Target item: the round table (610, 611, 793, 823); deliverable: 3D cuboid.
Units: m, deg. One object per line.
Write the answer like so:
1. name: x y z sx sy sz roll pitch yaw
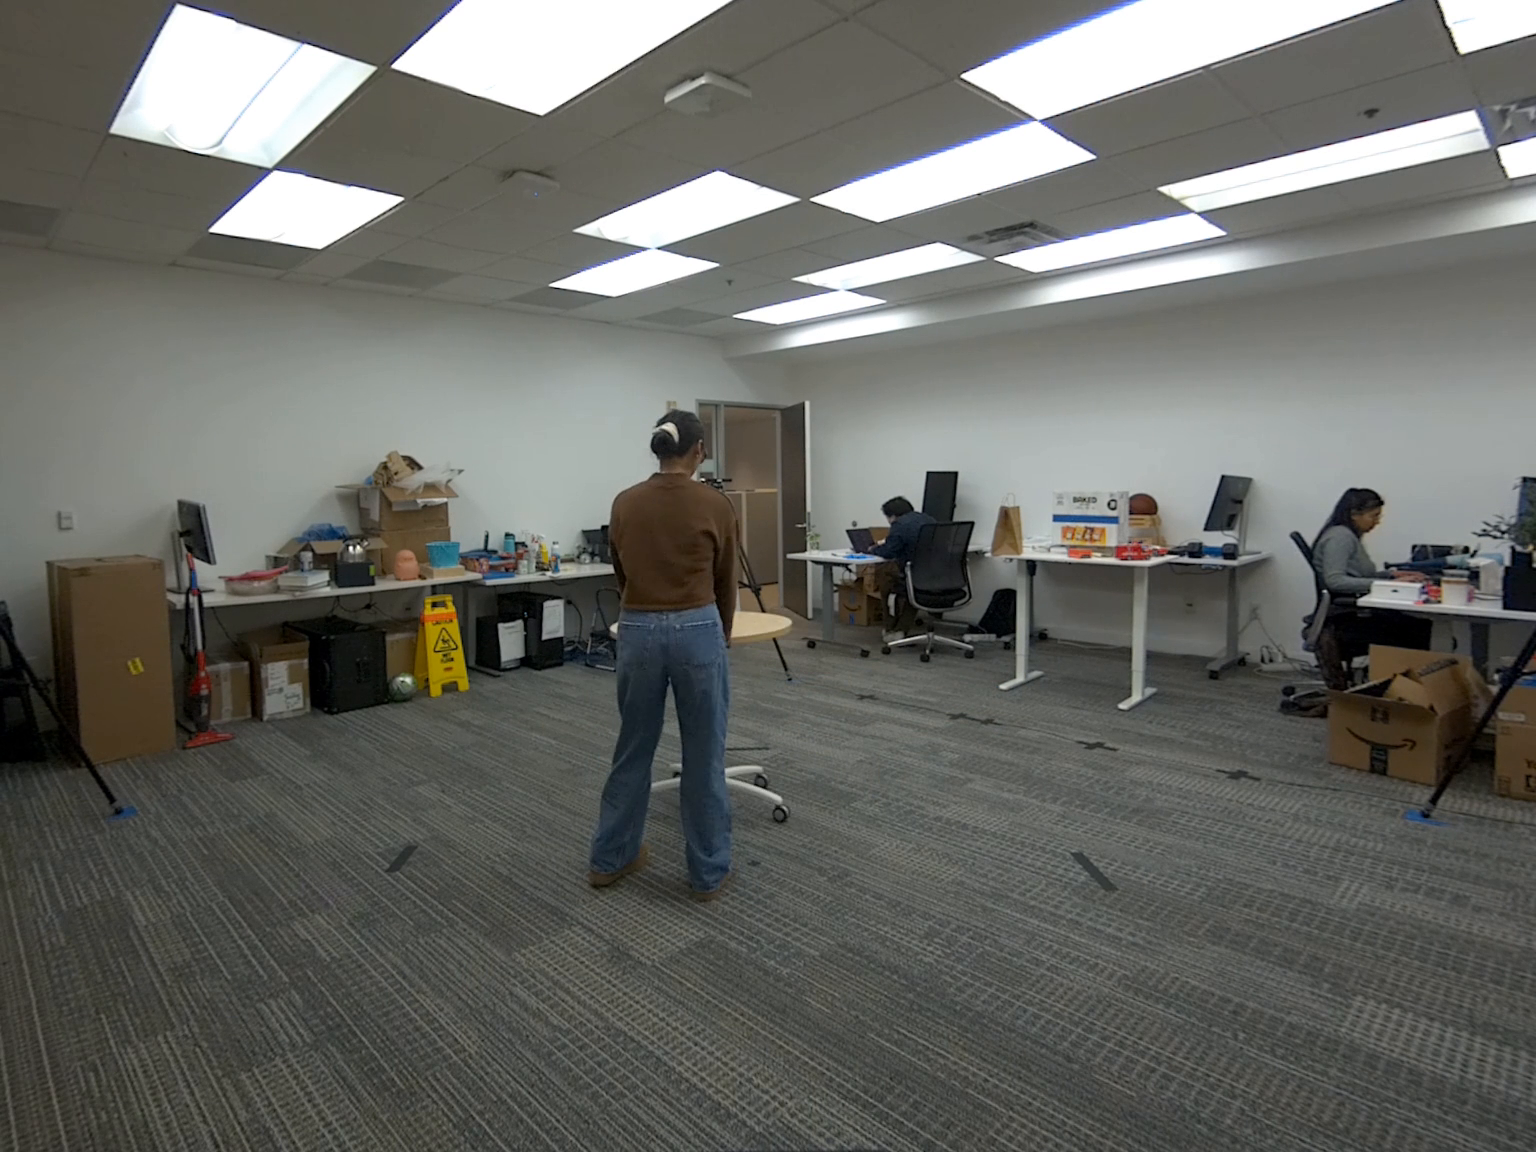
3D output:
1. round table: -0.247 0.595 3.603 0.784 0.784 0.789 -1 5 -2
